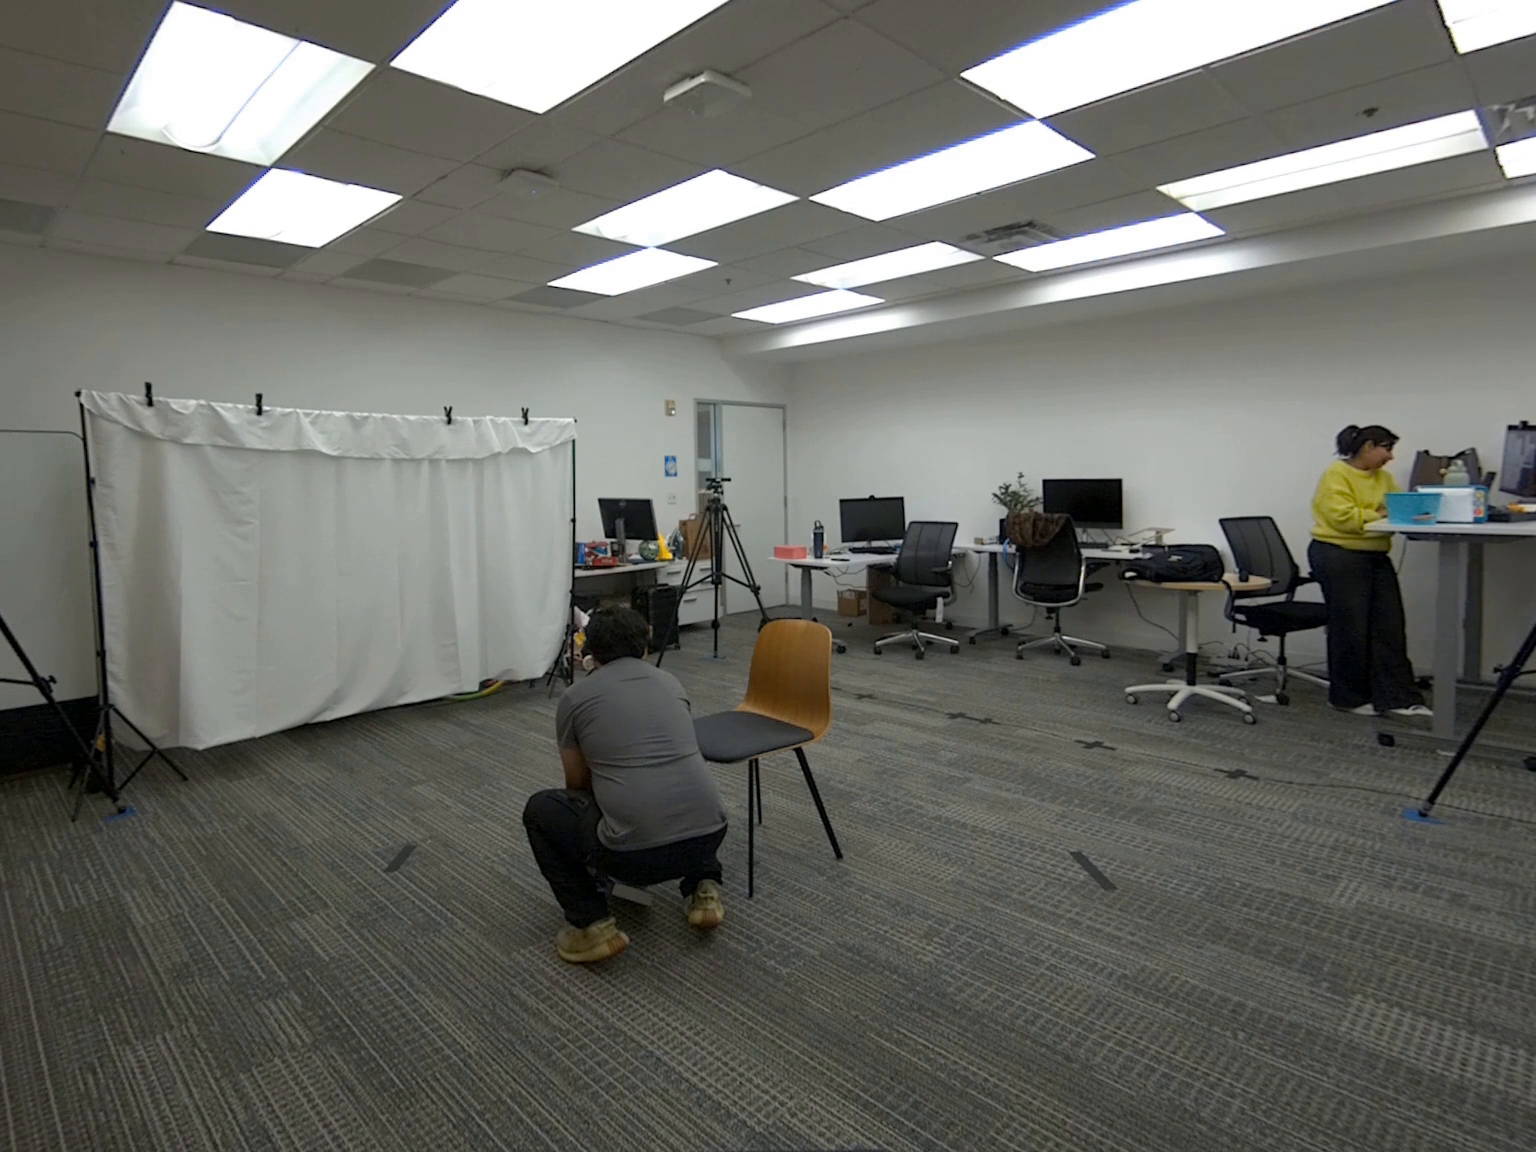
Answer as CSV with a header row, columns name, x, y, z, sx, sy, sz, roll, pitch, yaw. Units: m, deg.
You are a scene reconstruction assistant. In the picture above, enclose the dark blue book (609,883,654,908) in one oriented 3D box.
name,x,y,z,sx,sy,sz,roll,pitch,yaw
dark blue book,-0.495,1.024,2.852,0.158,0.045,0.251,30,-15,-30
